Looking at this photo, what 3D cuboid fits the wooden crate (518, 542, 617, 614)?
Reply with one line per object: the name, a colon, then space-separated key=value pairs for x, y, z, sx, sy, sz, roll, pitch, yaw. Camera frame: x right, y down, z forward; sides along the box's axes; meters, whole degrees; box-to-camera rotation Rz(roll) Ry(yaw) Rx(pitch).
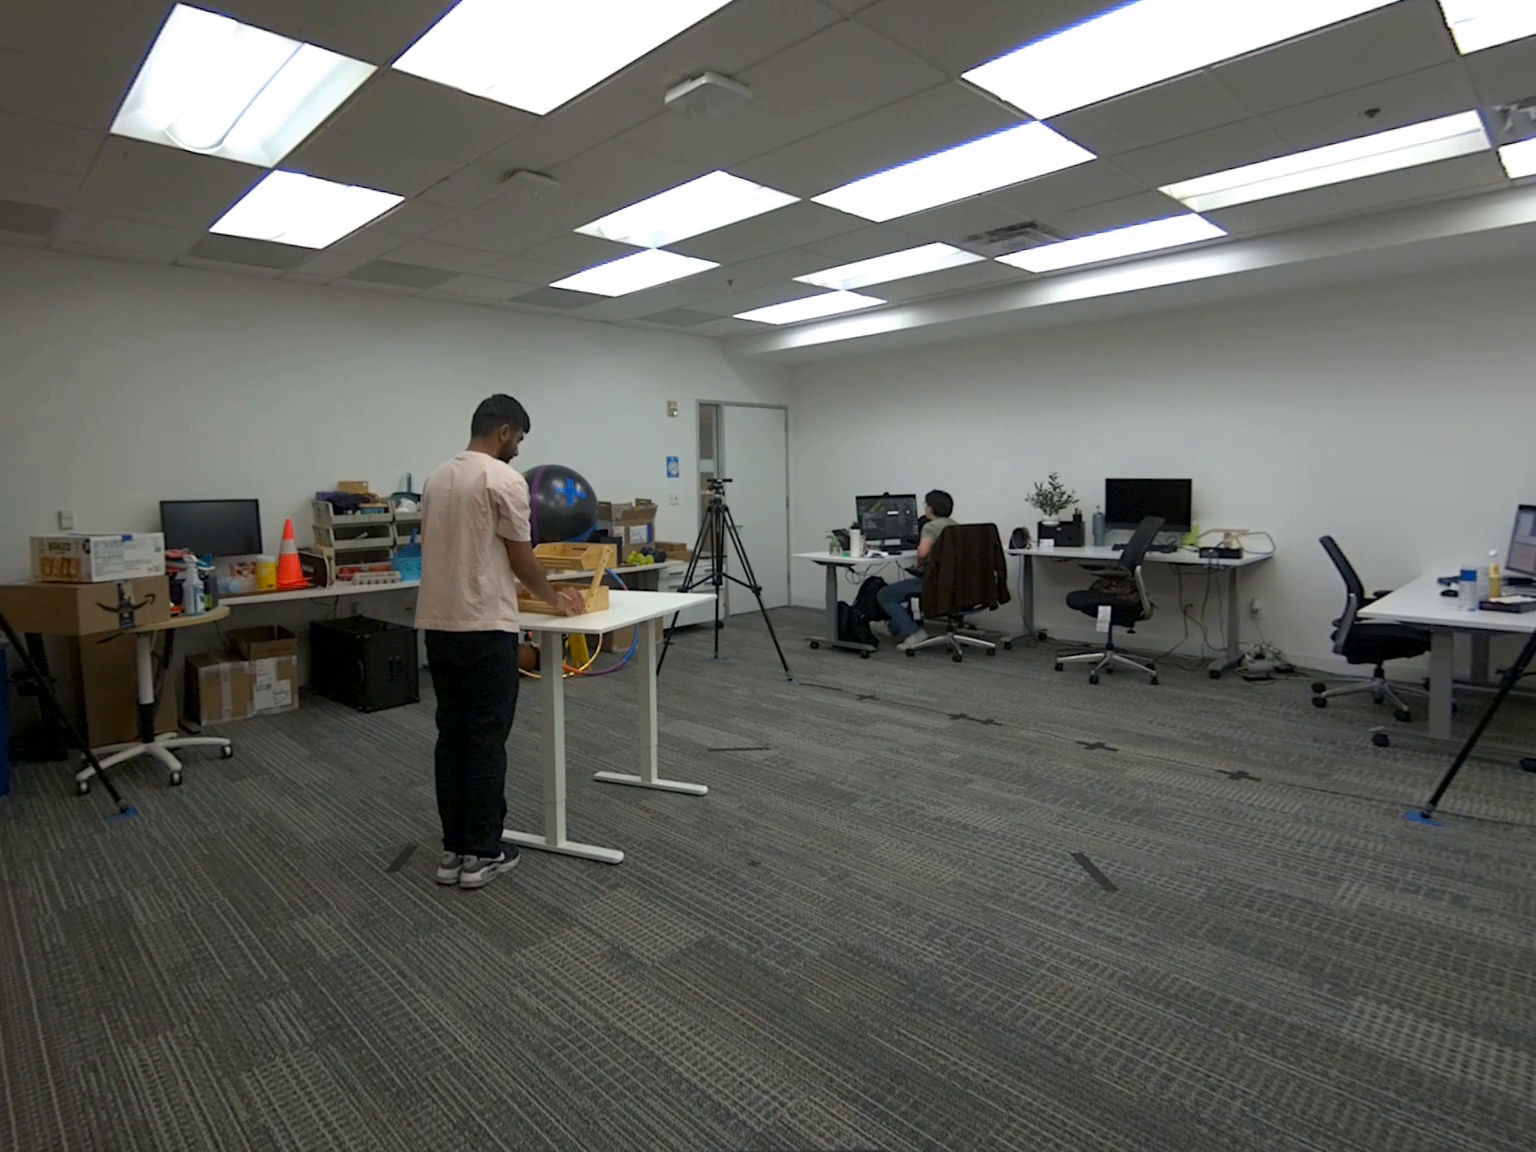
wooden crate: x=-0.826 y=0.003 z=3.457 sx=0.334 sy=0.272 sz=0.295 roll=3 pitch=6 yaw=34
